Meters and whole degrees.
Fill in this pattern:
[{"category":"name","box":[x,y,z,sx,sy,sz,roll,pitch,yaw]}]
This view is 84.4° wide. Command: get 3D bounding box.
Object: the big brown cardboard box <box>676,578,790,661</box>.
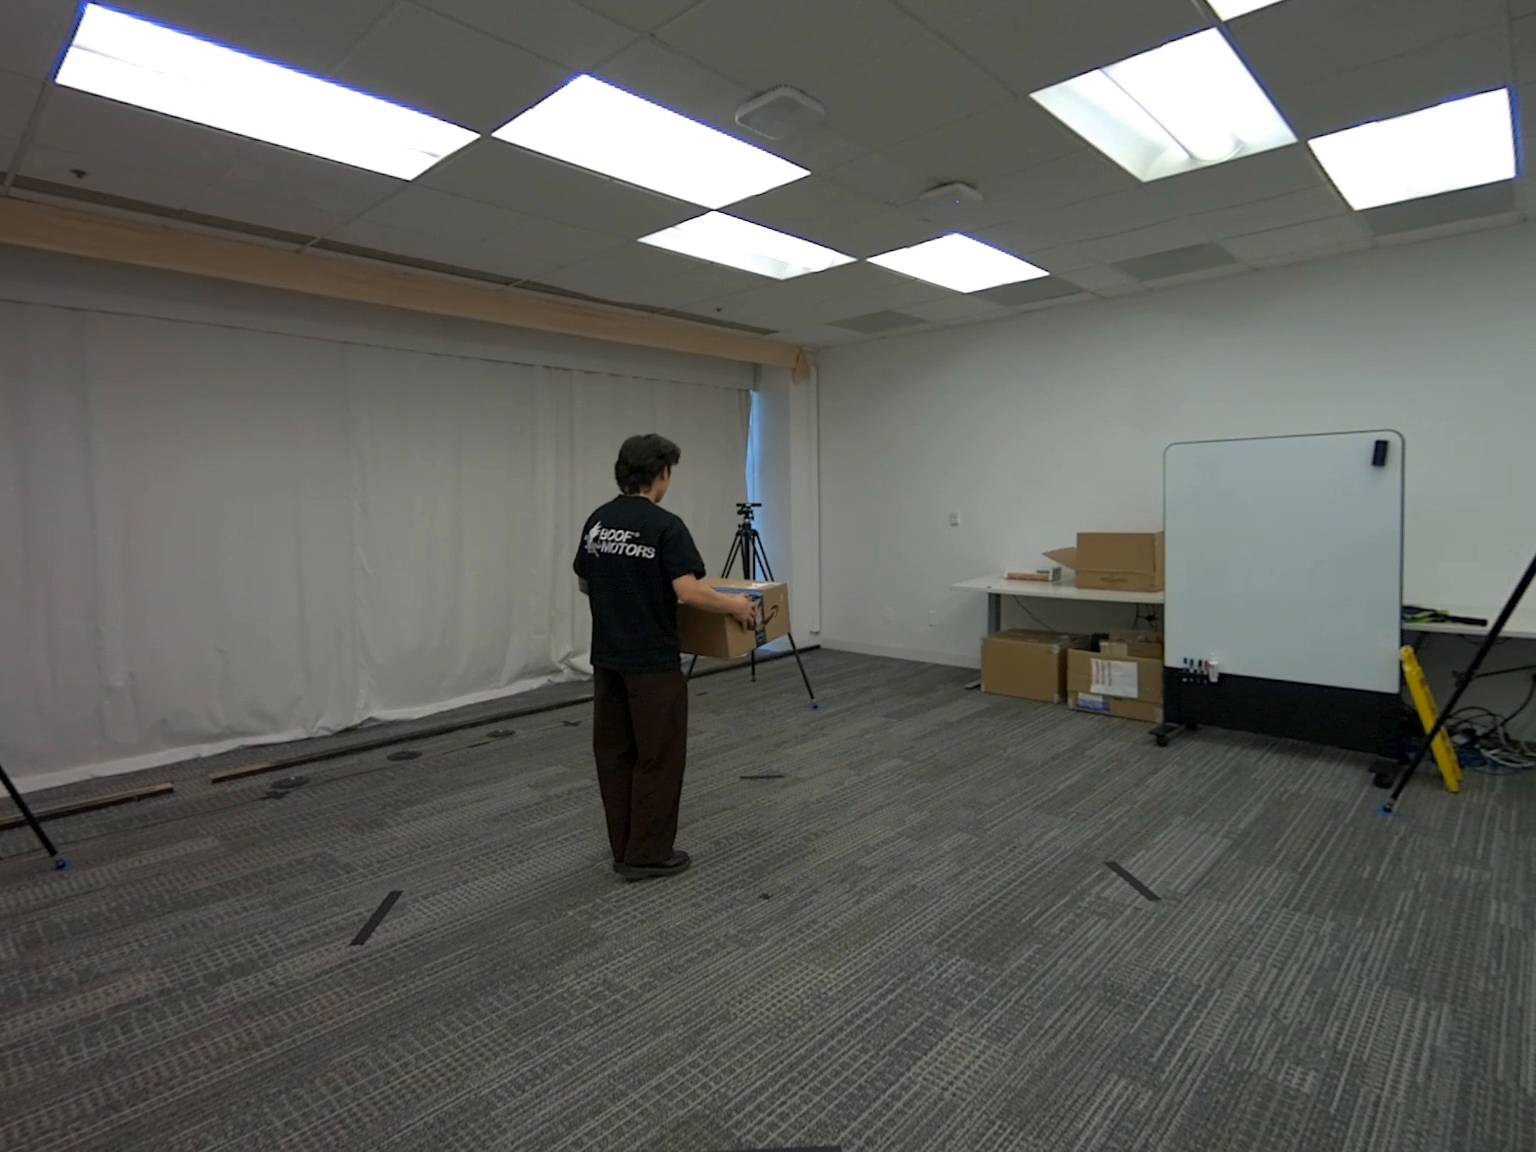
[{"category":"big brown cardboard box","box":[-0.261,0.161,3.518,0.608,0.231,0.407,2,13,38]}]
